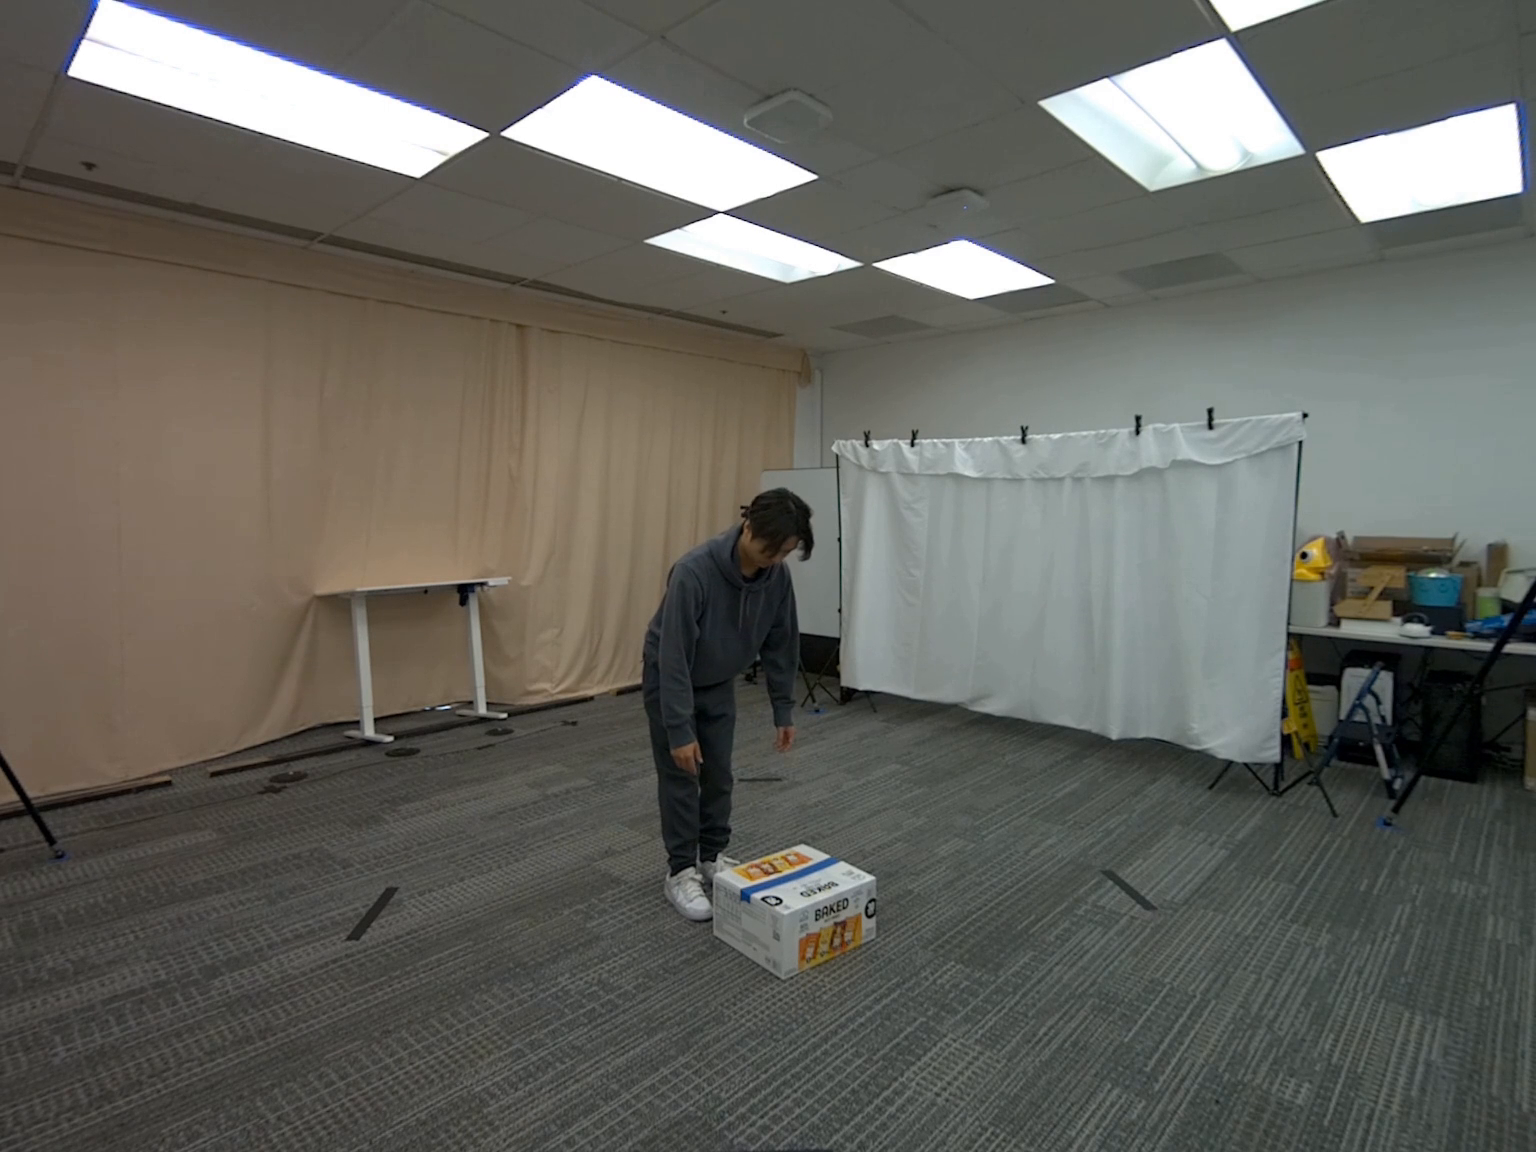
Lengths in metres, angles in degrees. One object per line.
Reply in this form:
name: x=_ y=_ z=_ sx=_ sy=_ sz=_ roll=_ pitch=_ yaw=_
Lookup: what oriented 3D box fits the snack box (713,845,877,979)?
snack box: x=0.090 y=1.067 z=2.708 sx=0.393 sy=0.205 sz=0.351 roll=-4 pitch=5 yaw=-39
